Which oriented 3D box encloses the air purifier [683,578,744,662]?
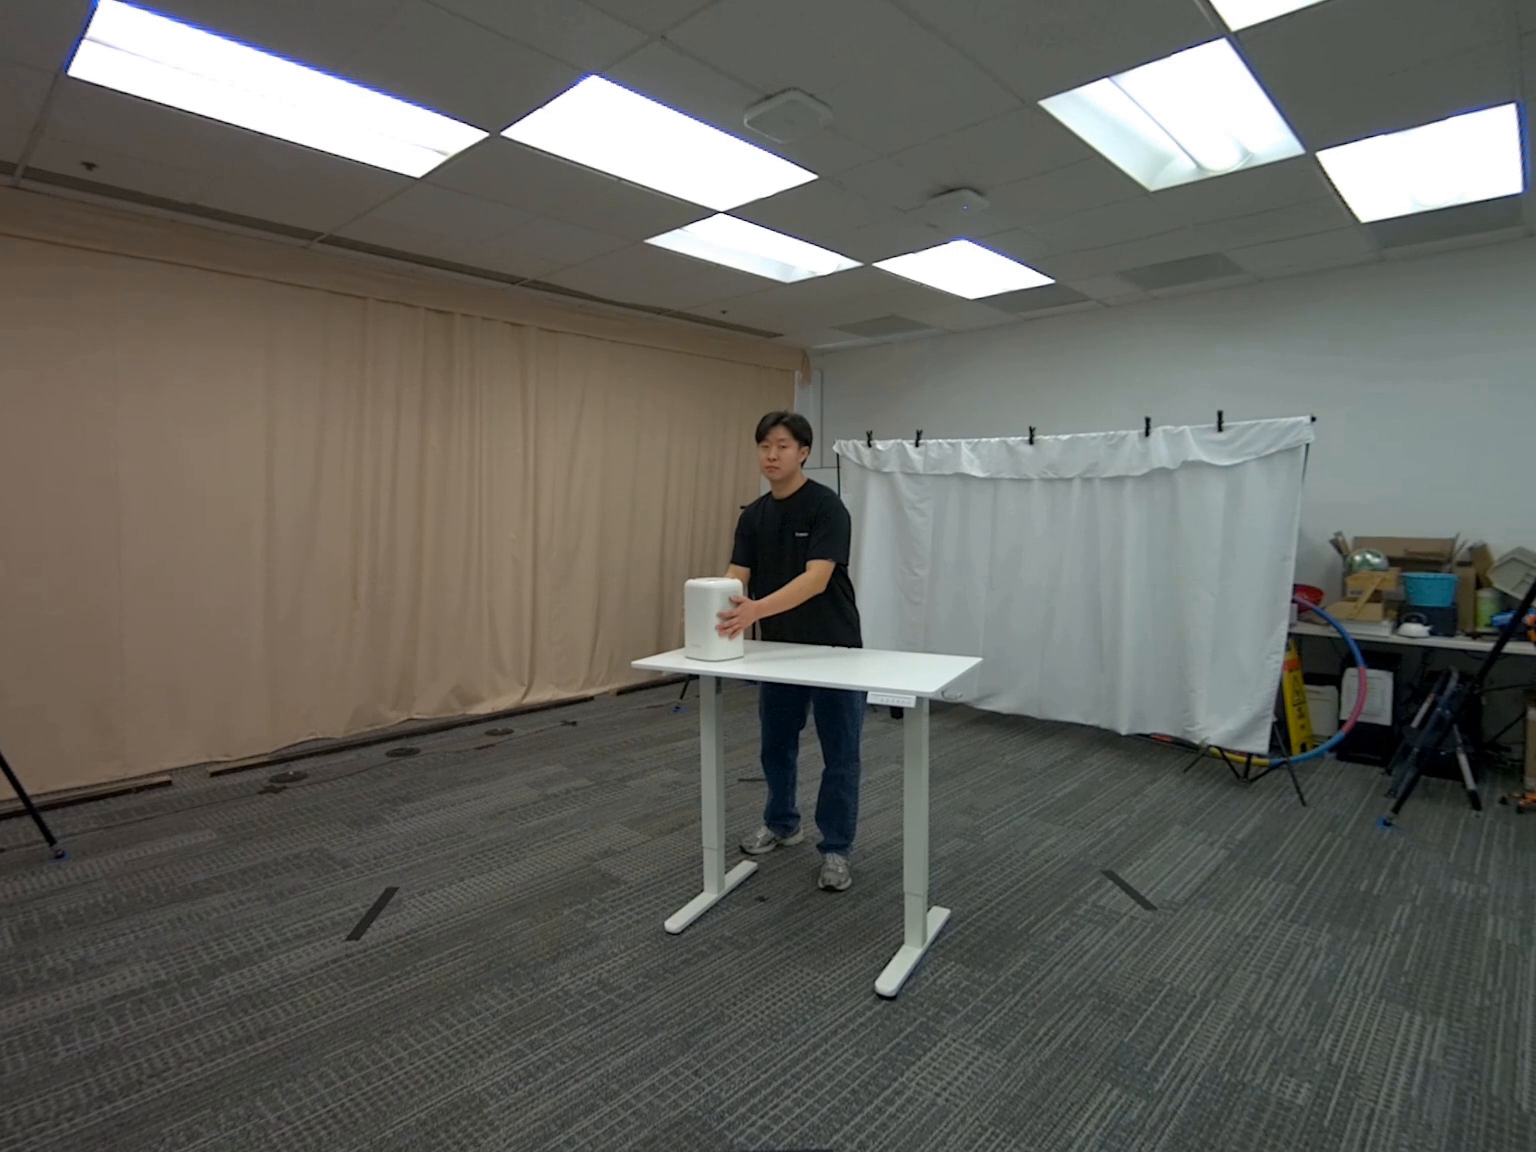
[{"bbox_3d":[-0.180,0.144,2.847,0.177,0.265,0.166,2,4,43],"label":"air purifier"}]
